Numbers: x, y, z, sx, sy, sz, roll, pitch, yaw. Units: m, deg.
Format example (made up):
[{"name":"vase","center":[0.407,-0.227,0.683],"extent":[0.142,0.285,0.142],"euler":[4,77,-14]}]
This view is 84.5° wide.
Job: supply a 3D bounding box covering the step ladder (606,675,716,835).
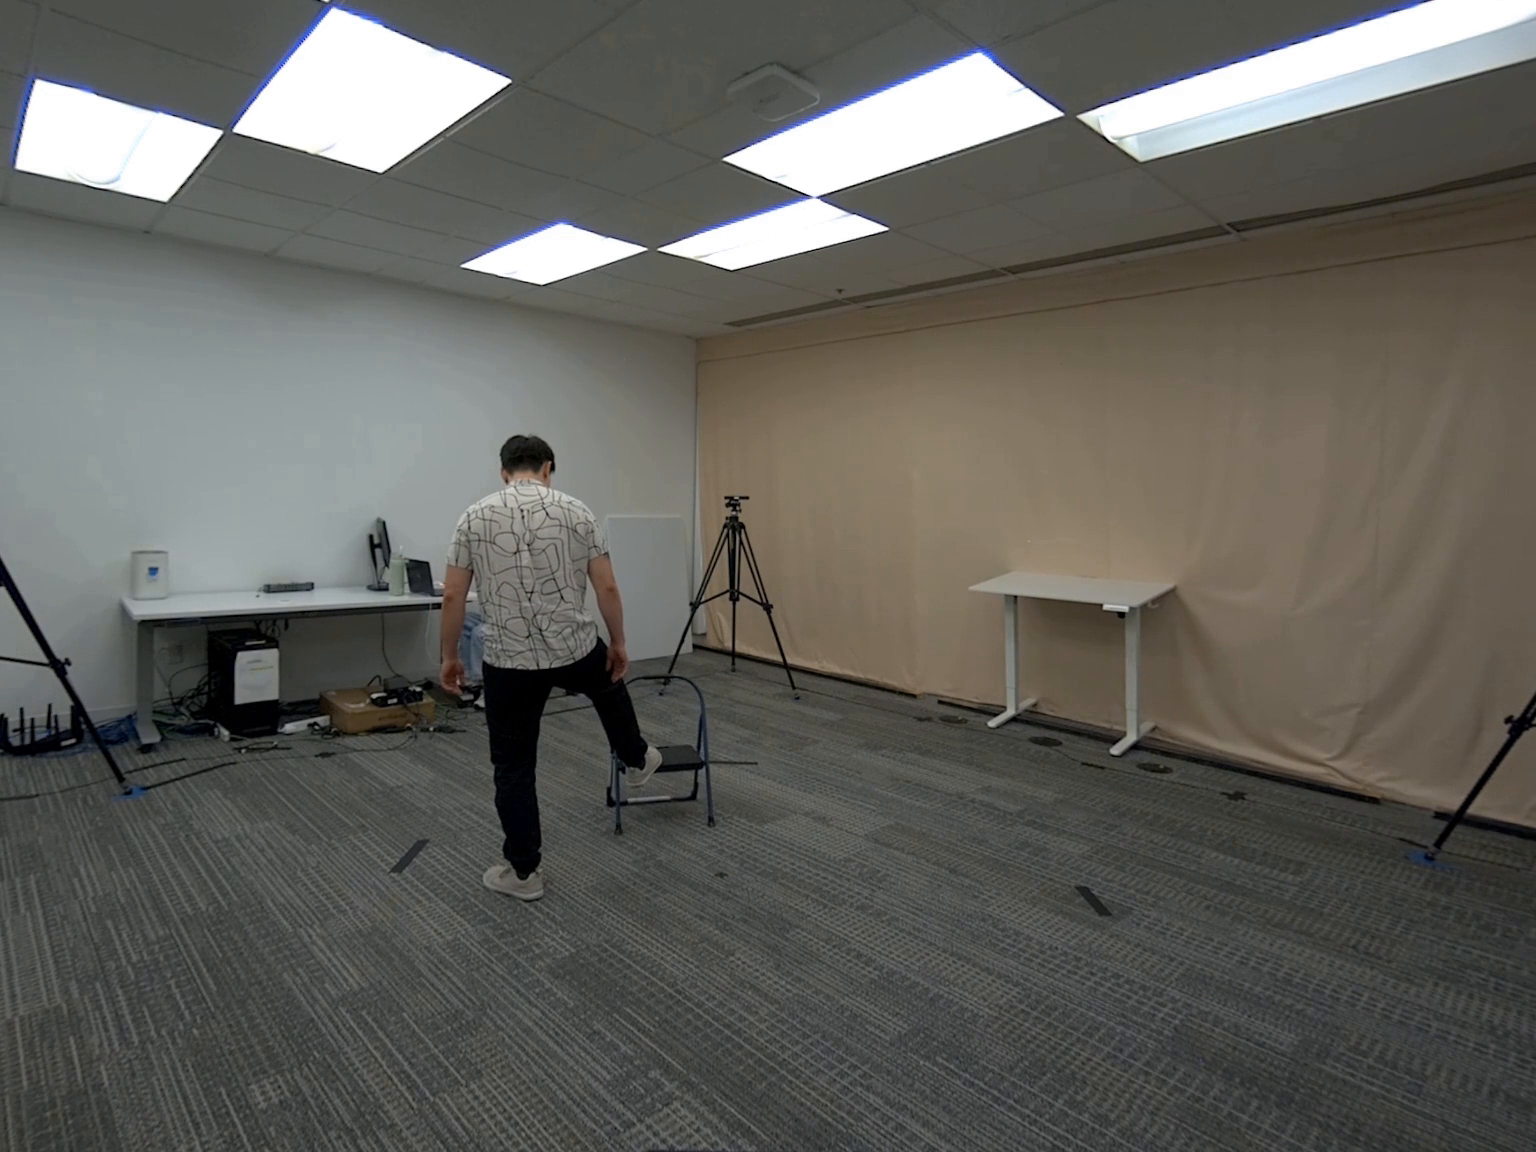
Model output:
[{"name":"step ladder","center":[-0.475,0.746,3.668],"extent":[0.425,0.605,0.355],"euler":[1,3,-18]}]
